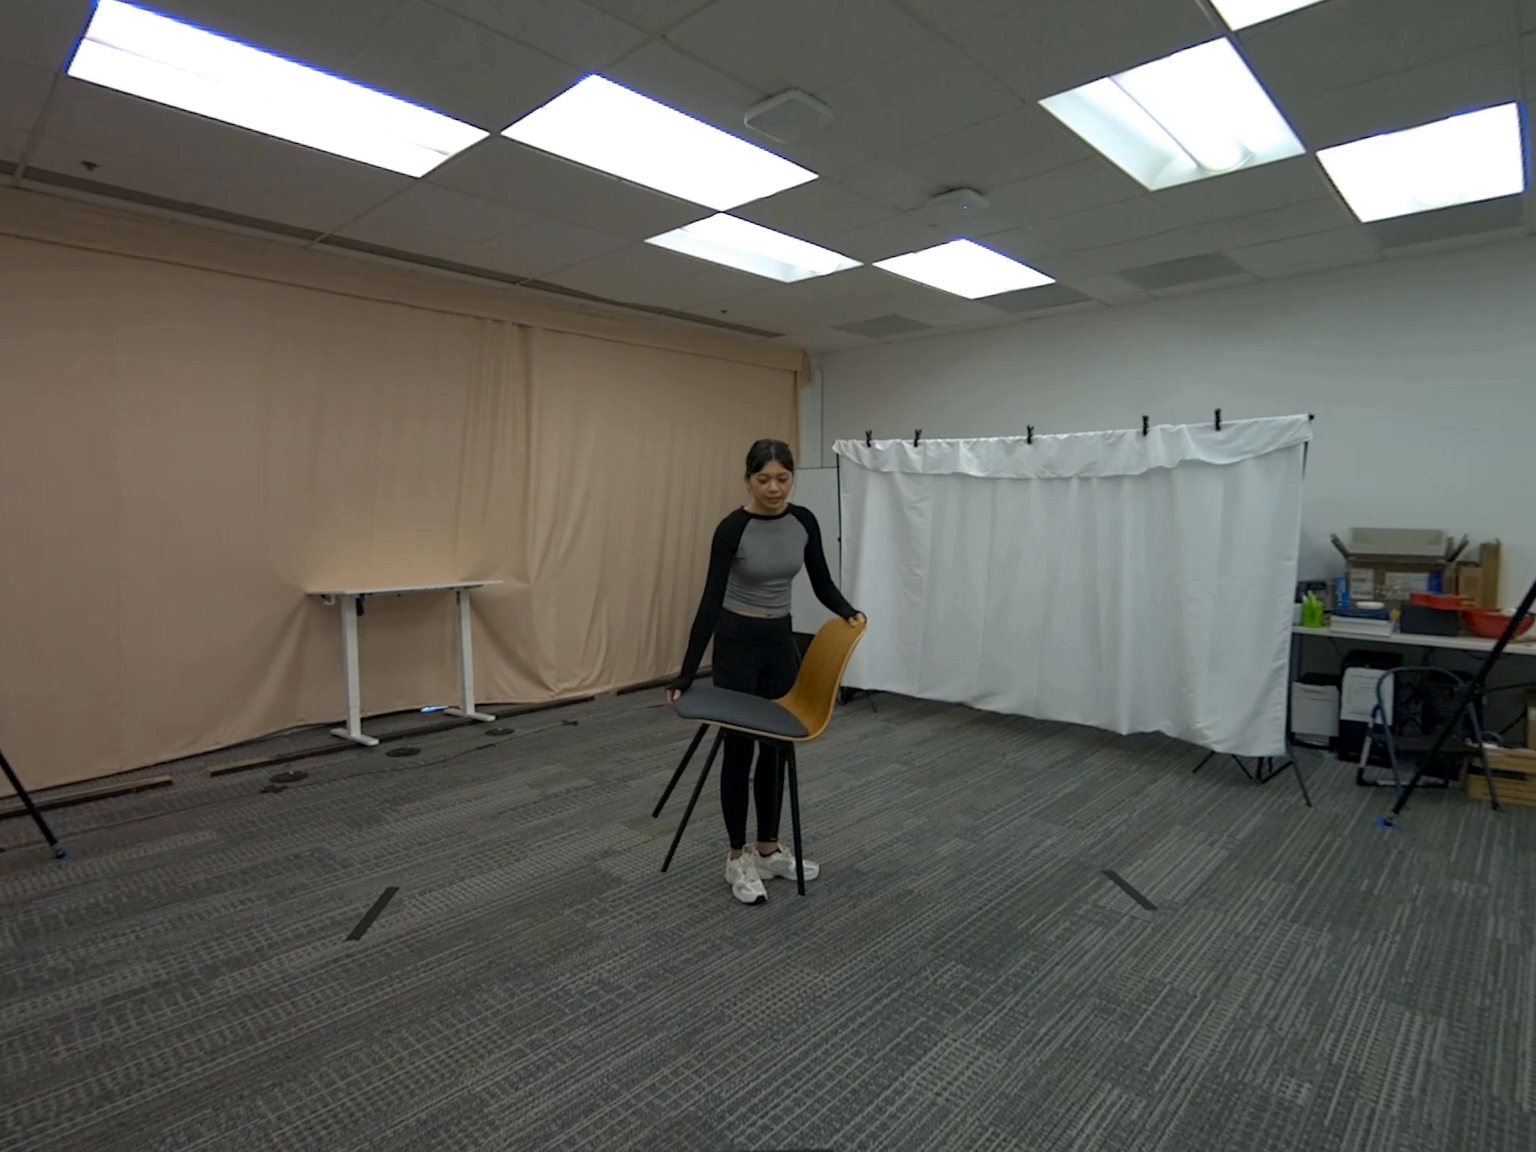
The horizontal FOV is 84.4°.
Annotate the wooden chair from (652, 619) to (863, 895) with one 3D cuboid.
[{"bbox_3d":[-0.057,0.504,2.735,0.517,0.877,0.484,17,2,-11],"label":"wooden chair"}]
